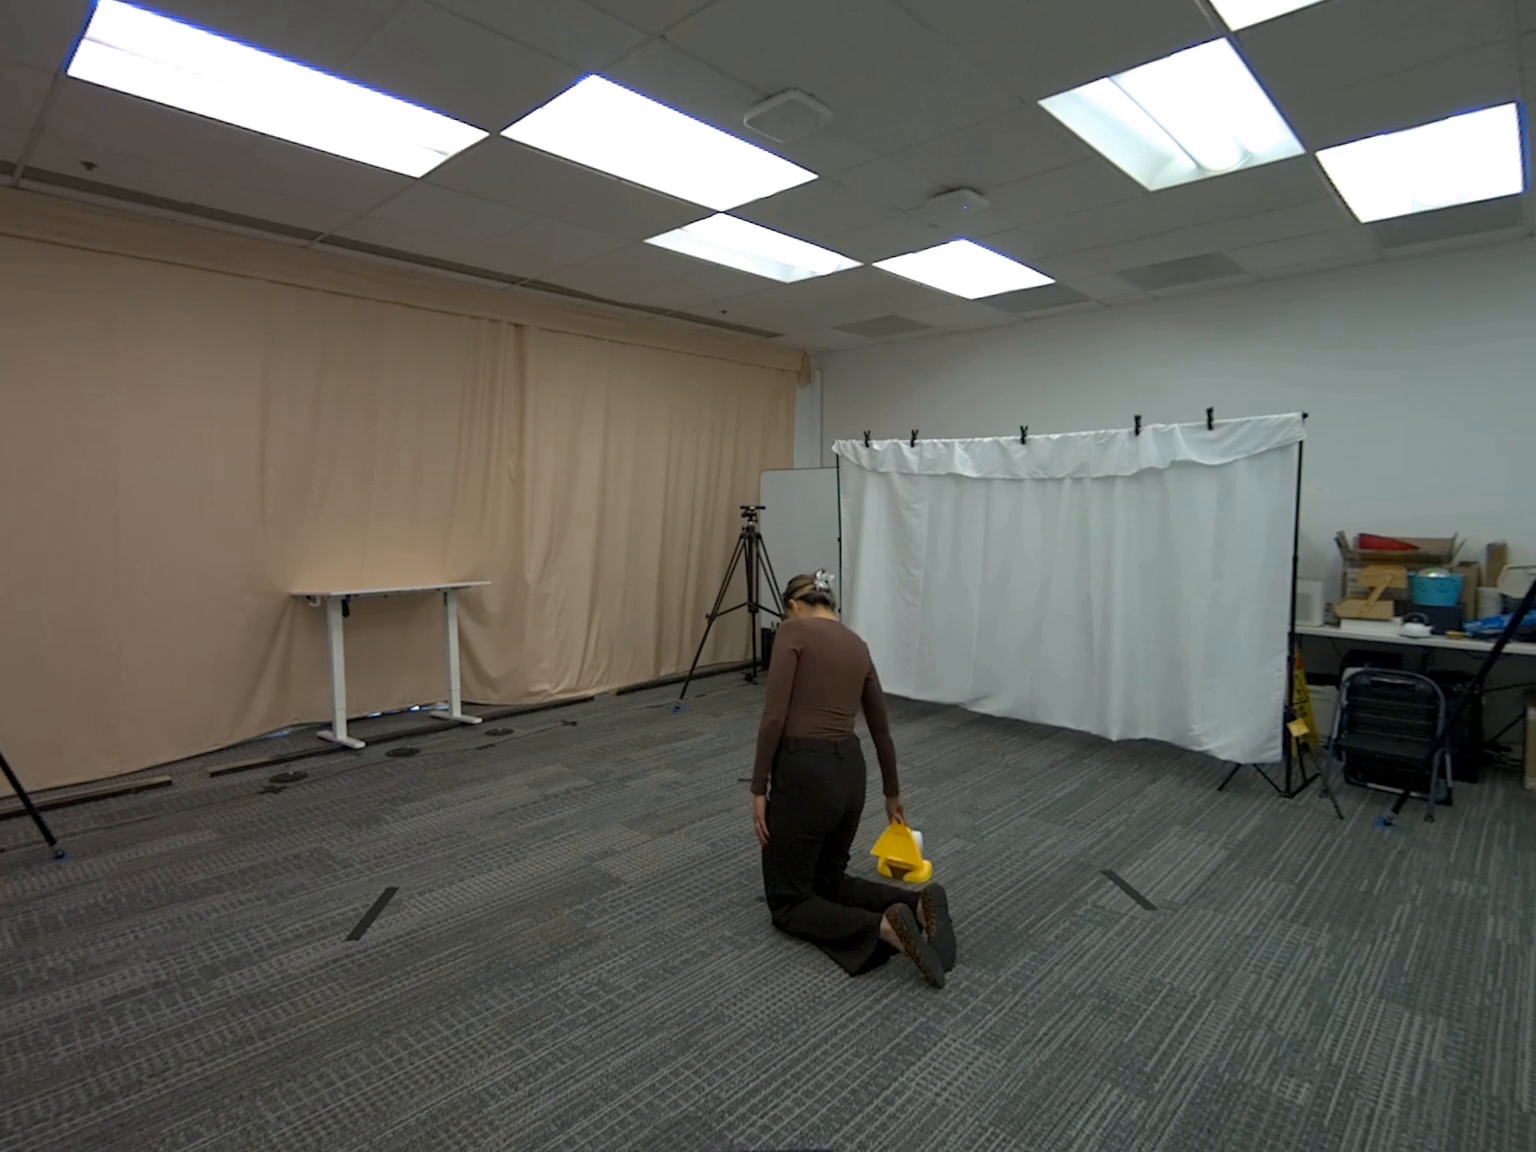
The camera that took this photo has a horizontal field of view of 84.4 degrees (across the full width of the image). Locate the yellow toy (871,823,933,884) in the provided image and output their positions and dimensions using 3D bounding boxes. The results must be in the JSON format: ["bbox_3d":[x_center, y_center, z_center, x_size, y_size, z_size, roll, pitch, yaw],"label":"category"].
[{"bbox_3d":[0.522,1.015,3.189,0.211,0.230,0.187,3,4,33],"label":"yellow toy"}]
